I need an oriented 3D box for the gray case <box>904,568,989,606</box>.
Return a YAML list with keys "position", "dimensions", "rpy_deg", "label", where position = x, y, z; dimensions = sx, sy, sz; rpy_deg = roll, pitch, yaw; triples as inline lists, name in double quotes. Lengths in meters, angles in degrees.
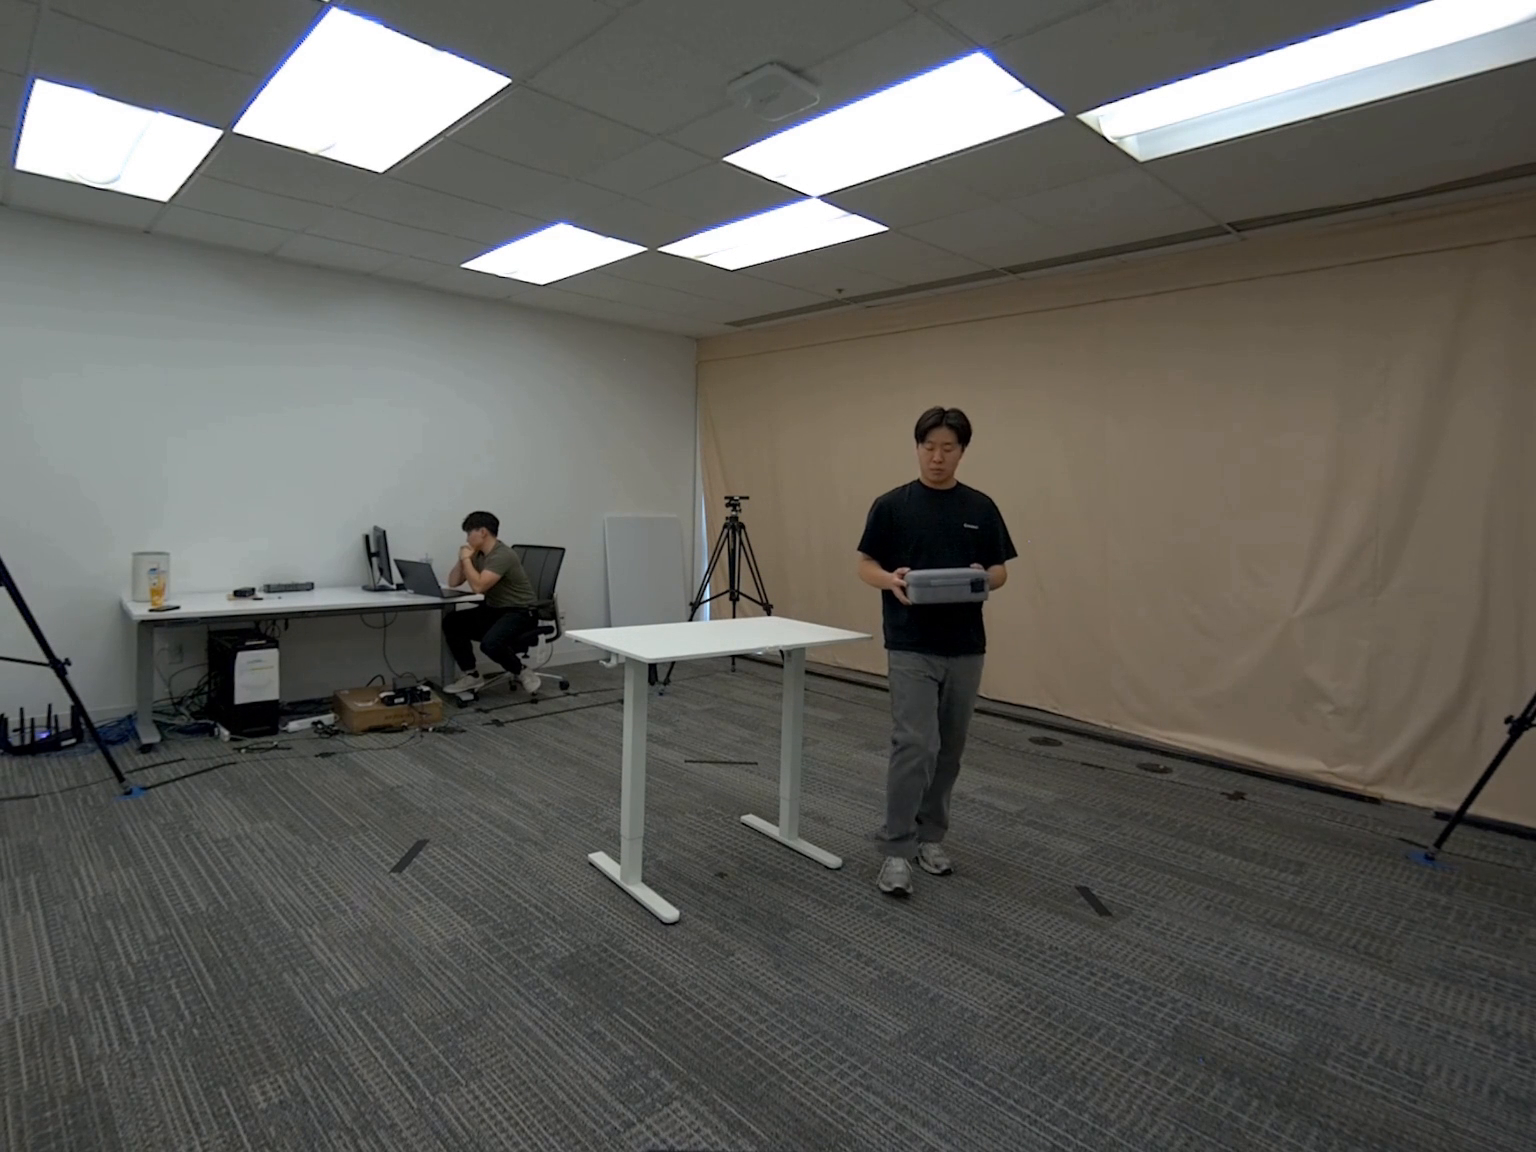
- position: [0.597, 0.029, 2.882]
  dimensions: [0.265, 0.103, 0.286]
  rpy_deg: [-3, 3, 7]
  label: "gray case"
